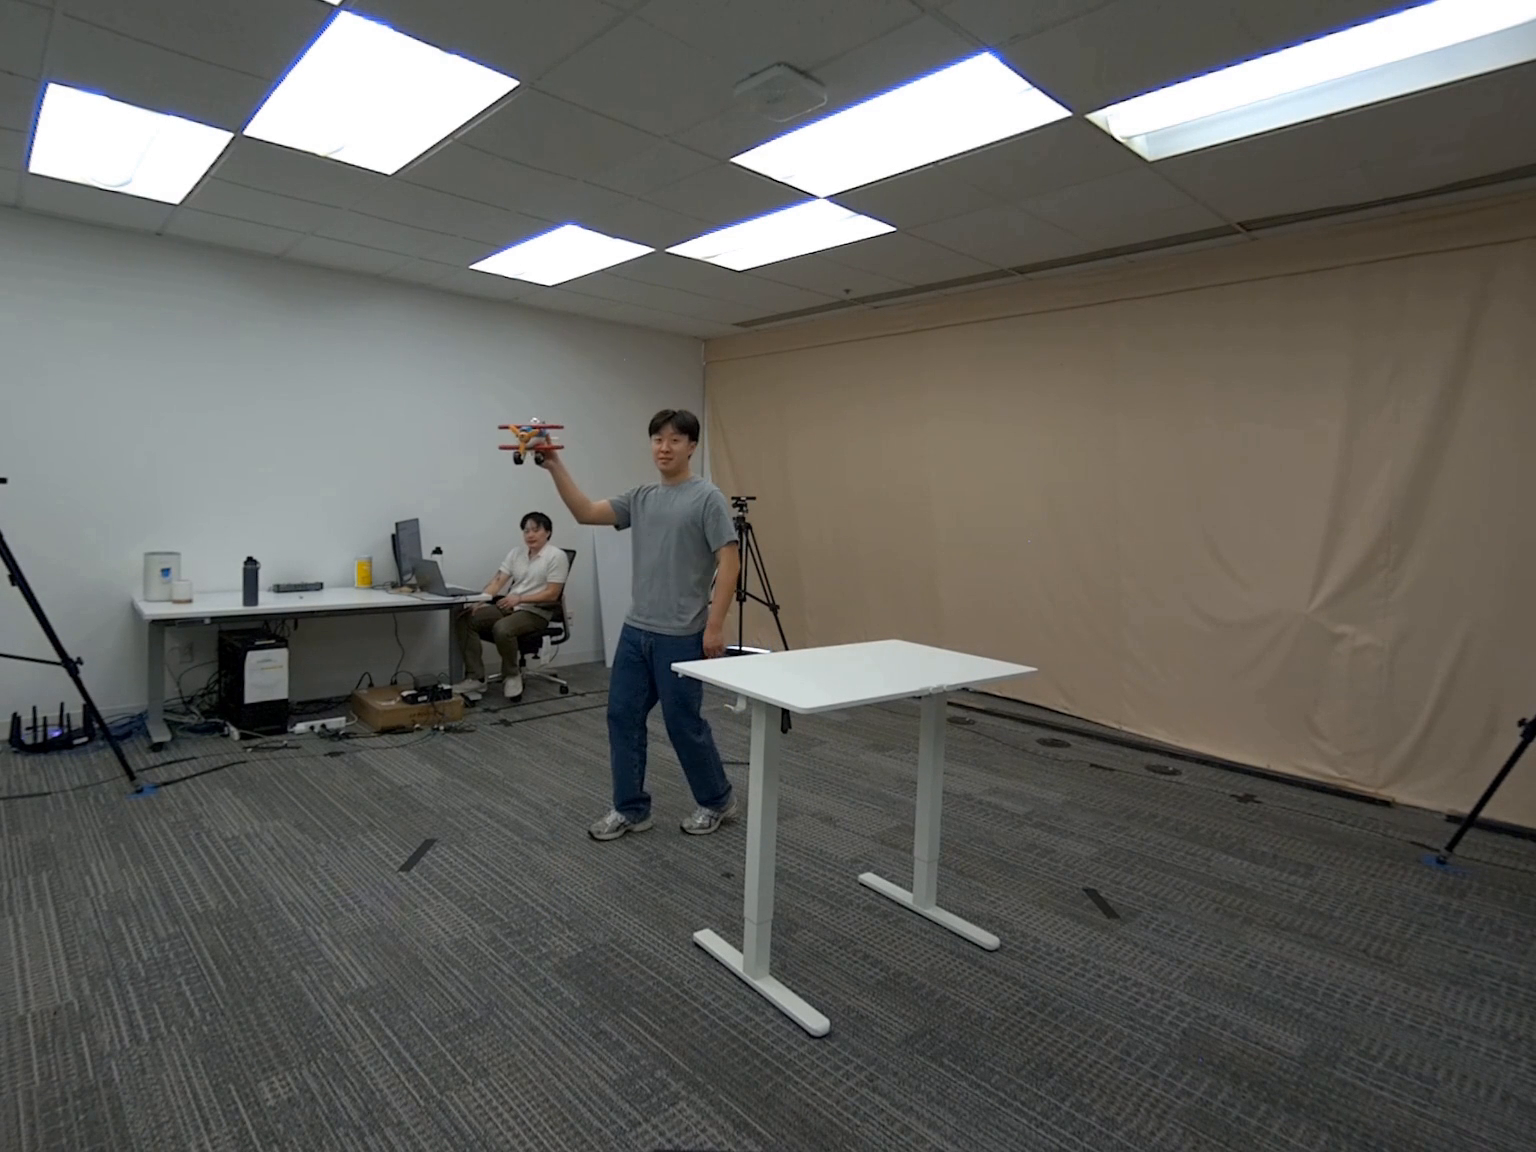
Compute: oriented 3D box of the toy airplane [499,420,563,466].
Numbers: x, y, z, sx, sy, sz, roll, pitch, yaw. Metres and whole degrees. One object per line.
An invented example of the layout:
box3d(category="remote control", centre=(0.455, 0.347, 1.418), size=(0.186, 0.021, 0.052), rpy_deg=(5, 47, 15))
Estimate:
box3d(category="toy airplane", centre=(-0.944, -0.540, 3.318), size=(0.248, 0.154, 0.267), rpy_deg=(-10, 24, -21))
